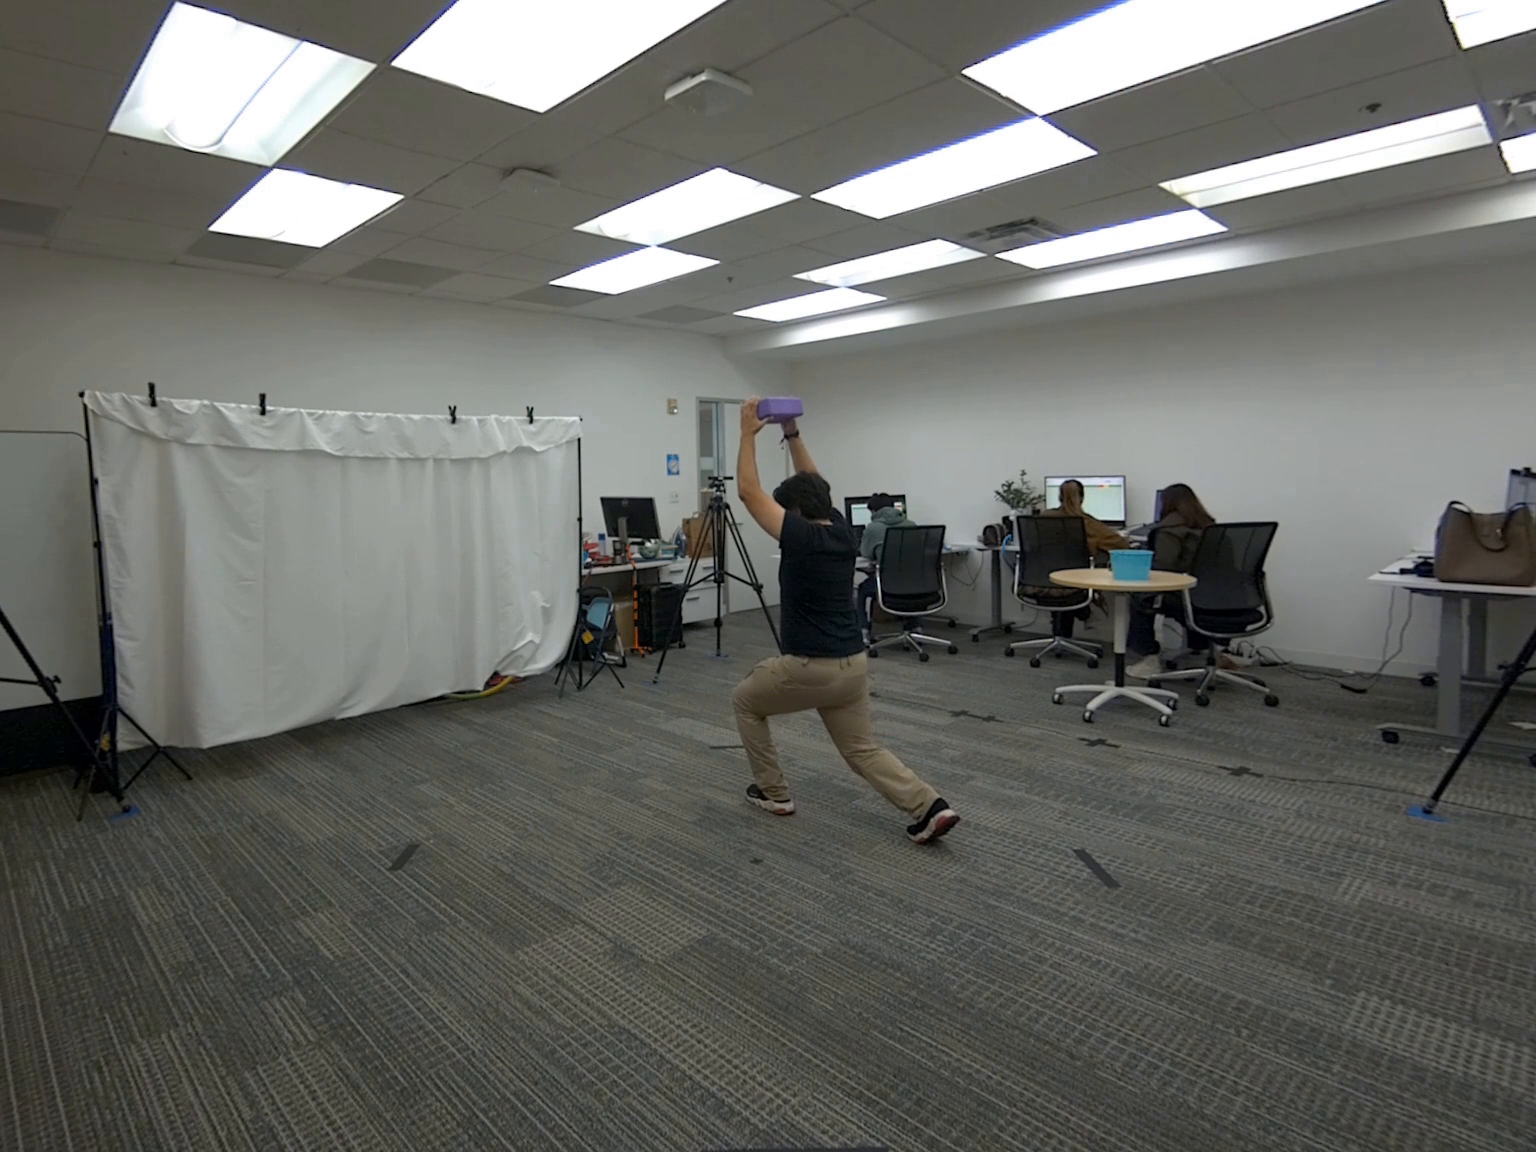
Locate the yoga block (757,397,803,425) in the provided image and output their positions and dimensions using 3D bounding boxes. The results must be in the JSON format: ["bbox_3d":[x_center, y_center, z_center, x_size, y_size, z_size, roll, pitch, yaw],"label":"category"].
[{"bbox_3d":[0.027,-0.687,3.520,0.152,0.076,0.224,-10,2,37],"label":"yoga block"}]
